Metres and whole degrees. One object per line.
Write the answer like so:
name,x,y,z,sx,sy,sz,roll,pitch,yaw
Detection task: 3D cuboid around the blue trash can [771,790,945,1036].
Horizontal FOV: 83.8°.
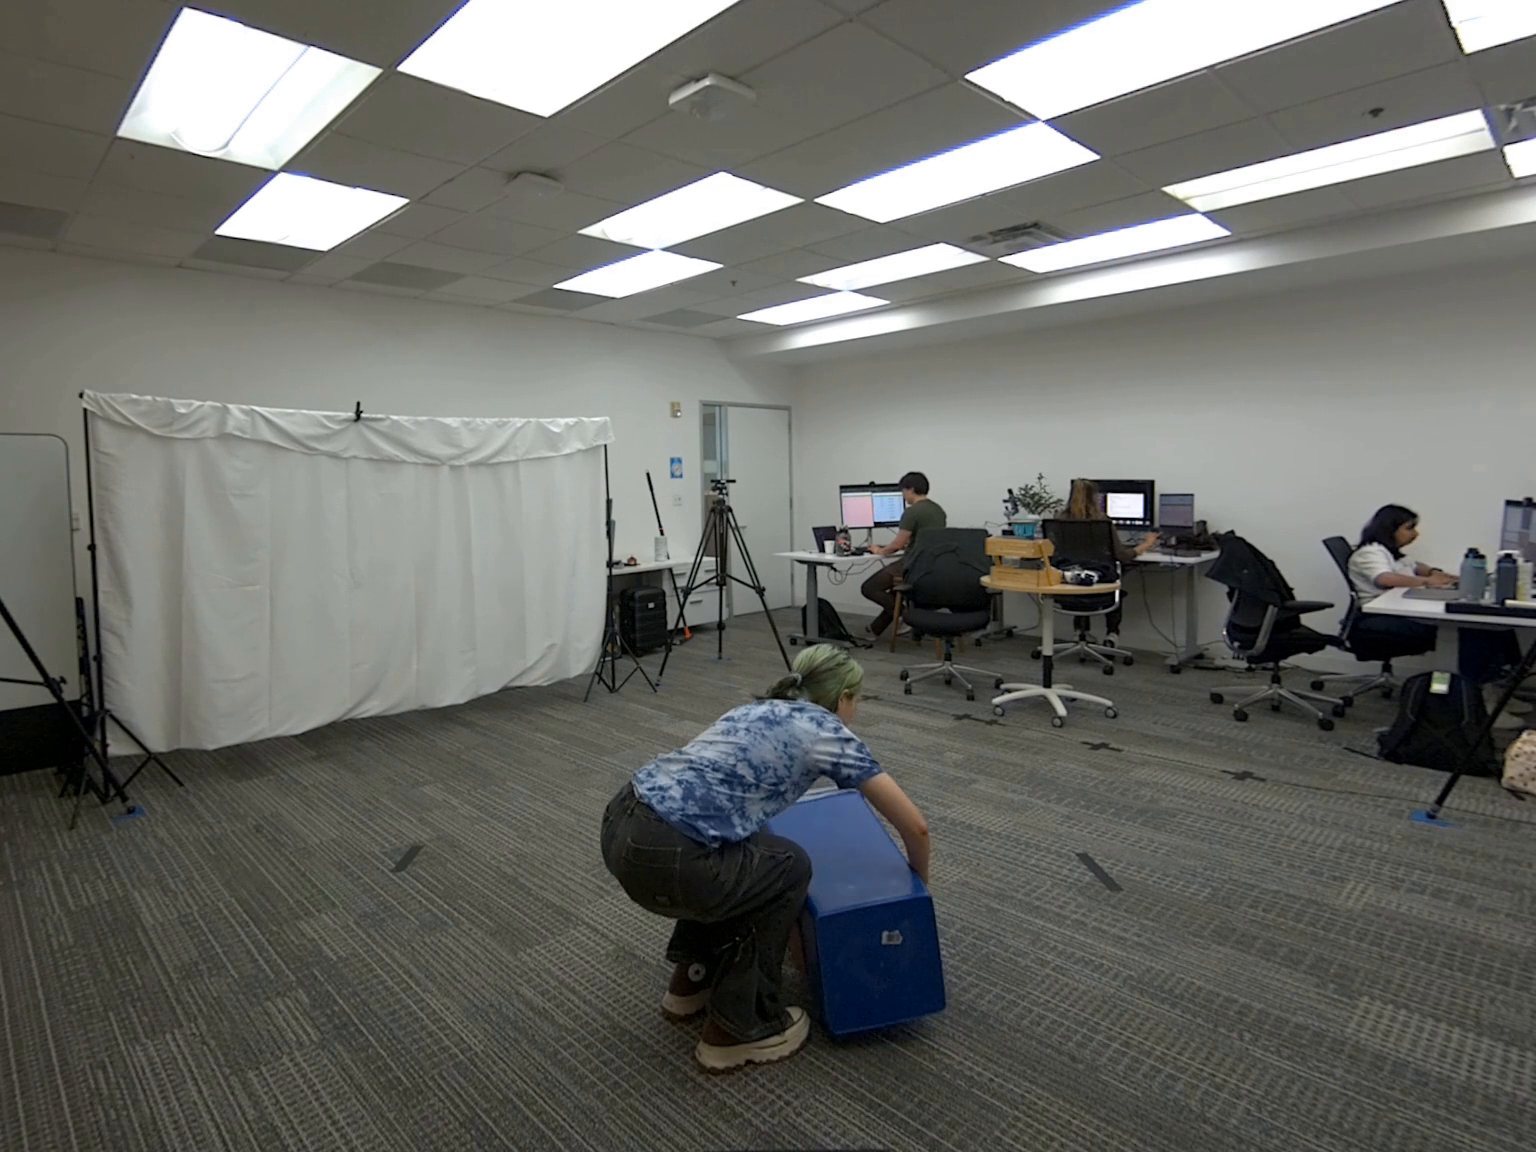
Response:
blue trash can,0.226,0.898,2.436,0.375,0.372,0.722,-8,5,-10
